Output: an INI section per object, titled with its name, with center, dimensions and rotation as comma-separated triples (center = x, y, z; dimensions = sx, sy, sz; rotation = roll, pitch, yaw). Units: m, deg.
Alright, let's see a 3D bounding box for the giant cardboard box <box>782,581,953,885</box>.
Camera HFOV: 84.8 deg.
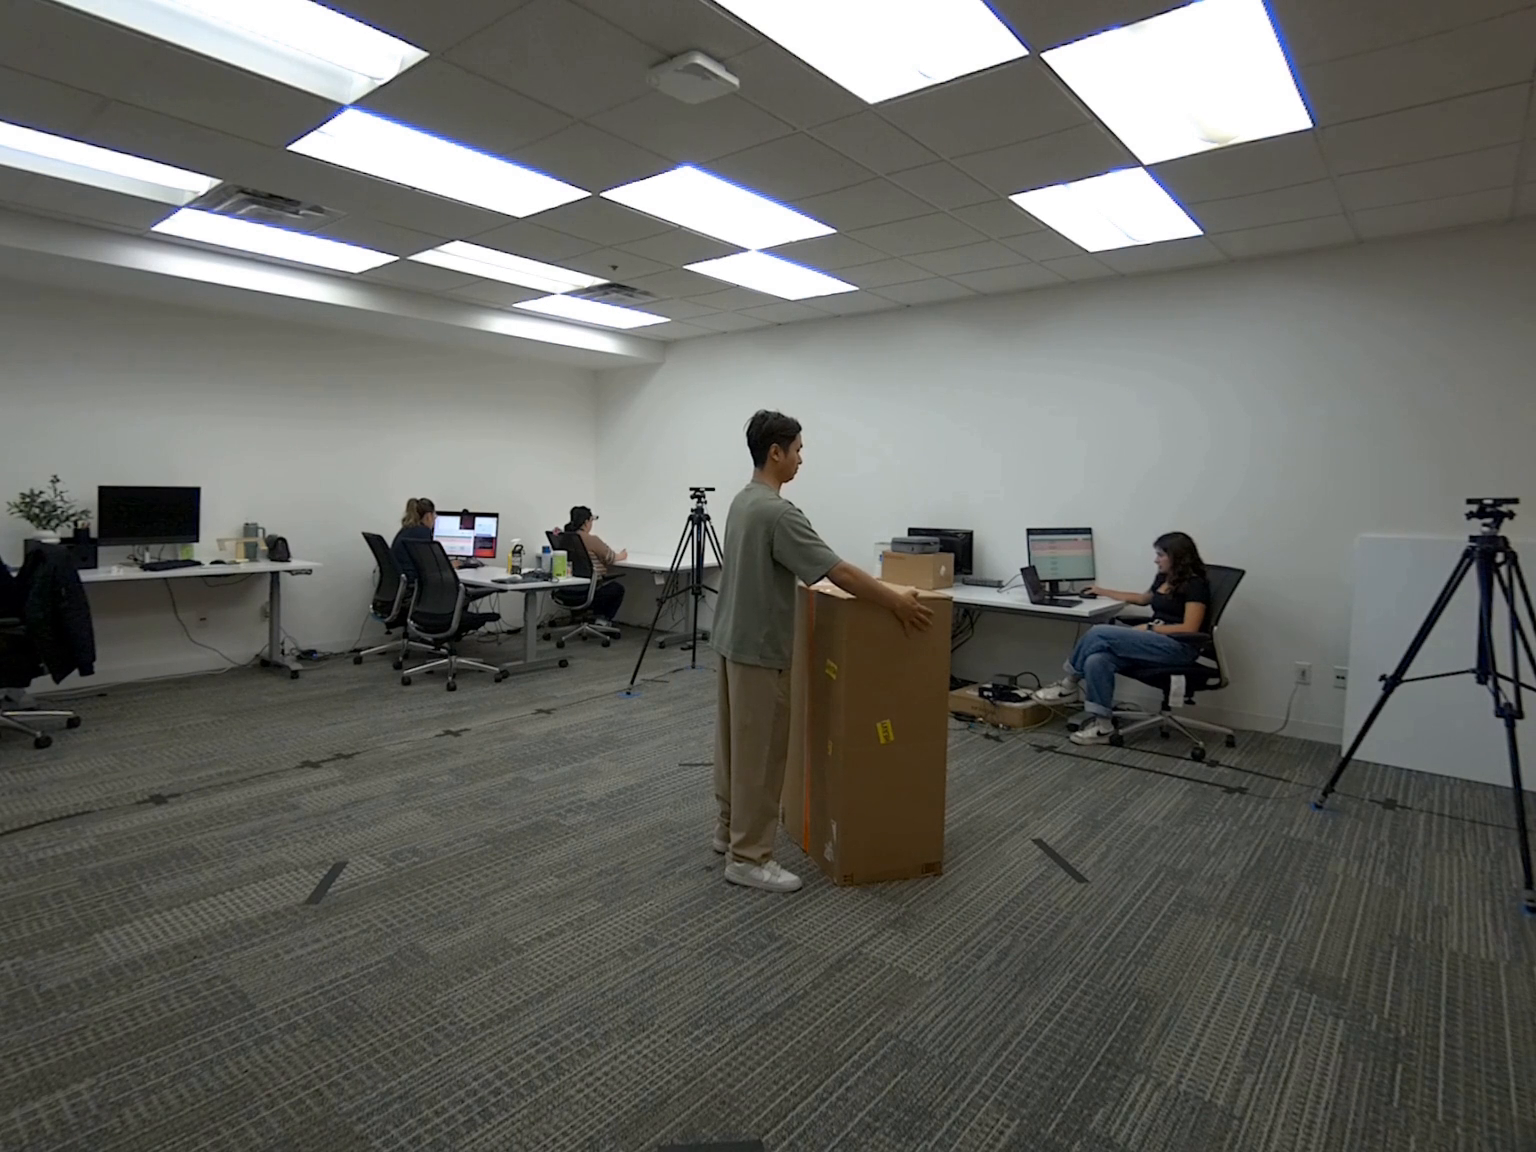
[giant cardboard box]
center = 0.352, 0.553, 3.280
dimensions = 0.419, 1.023, 0.589
rotation = 0, 4, -16
